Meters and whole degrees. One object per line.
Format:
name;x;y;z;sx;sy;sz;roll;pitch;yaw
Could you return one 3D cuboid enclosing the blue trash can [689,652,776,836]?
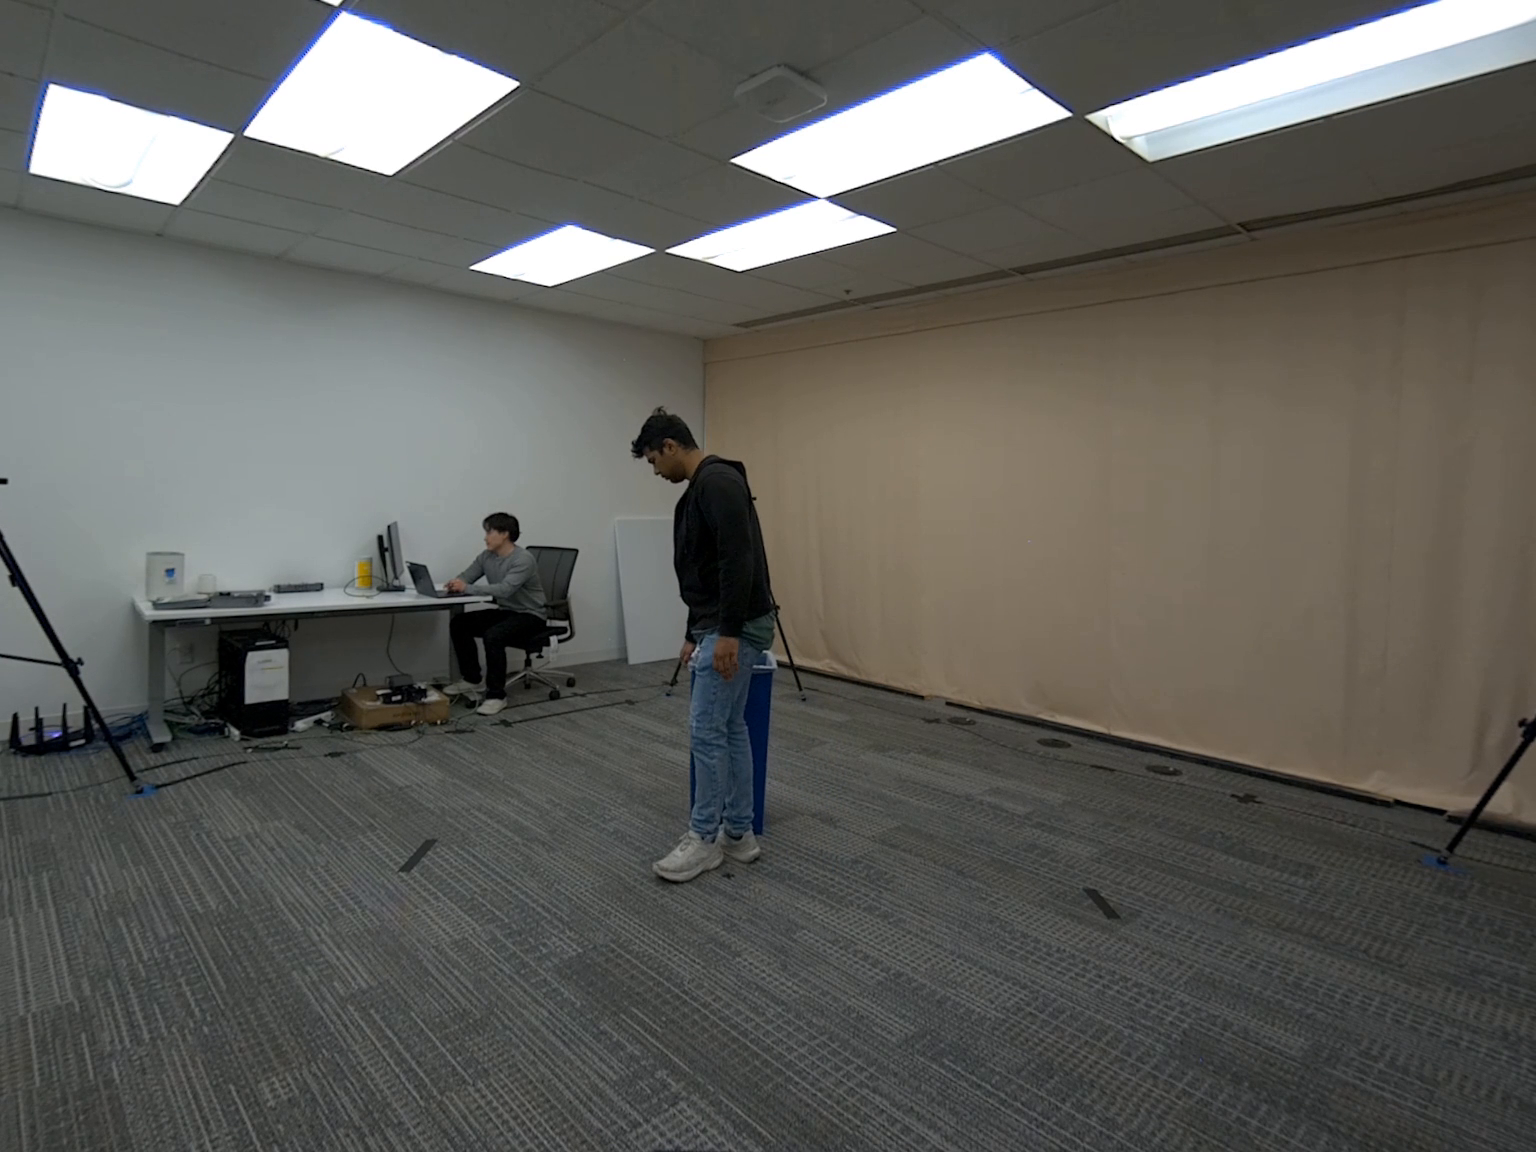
blue trash can;-0.169;0.706;3.615;0.377;0.712;0.376;2;3;-4
